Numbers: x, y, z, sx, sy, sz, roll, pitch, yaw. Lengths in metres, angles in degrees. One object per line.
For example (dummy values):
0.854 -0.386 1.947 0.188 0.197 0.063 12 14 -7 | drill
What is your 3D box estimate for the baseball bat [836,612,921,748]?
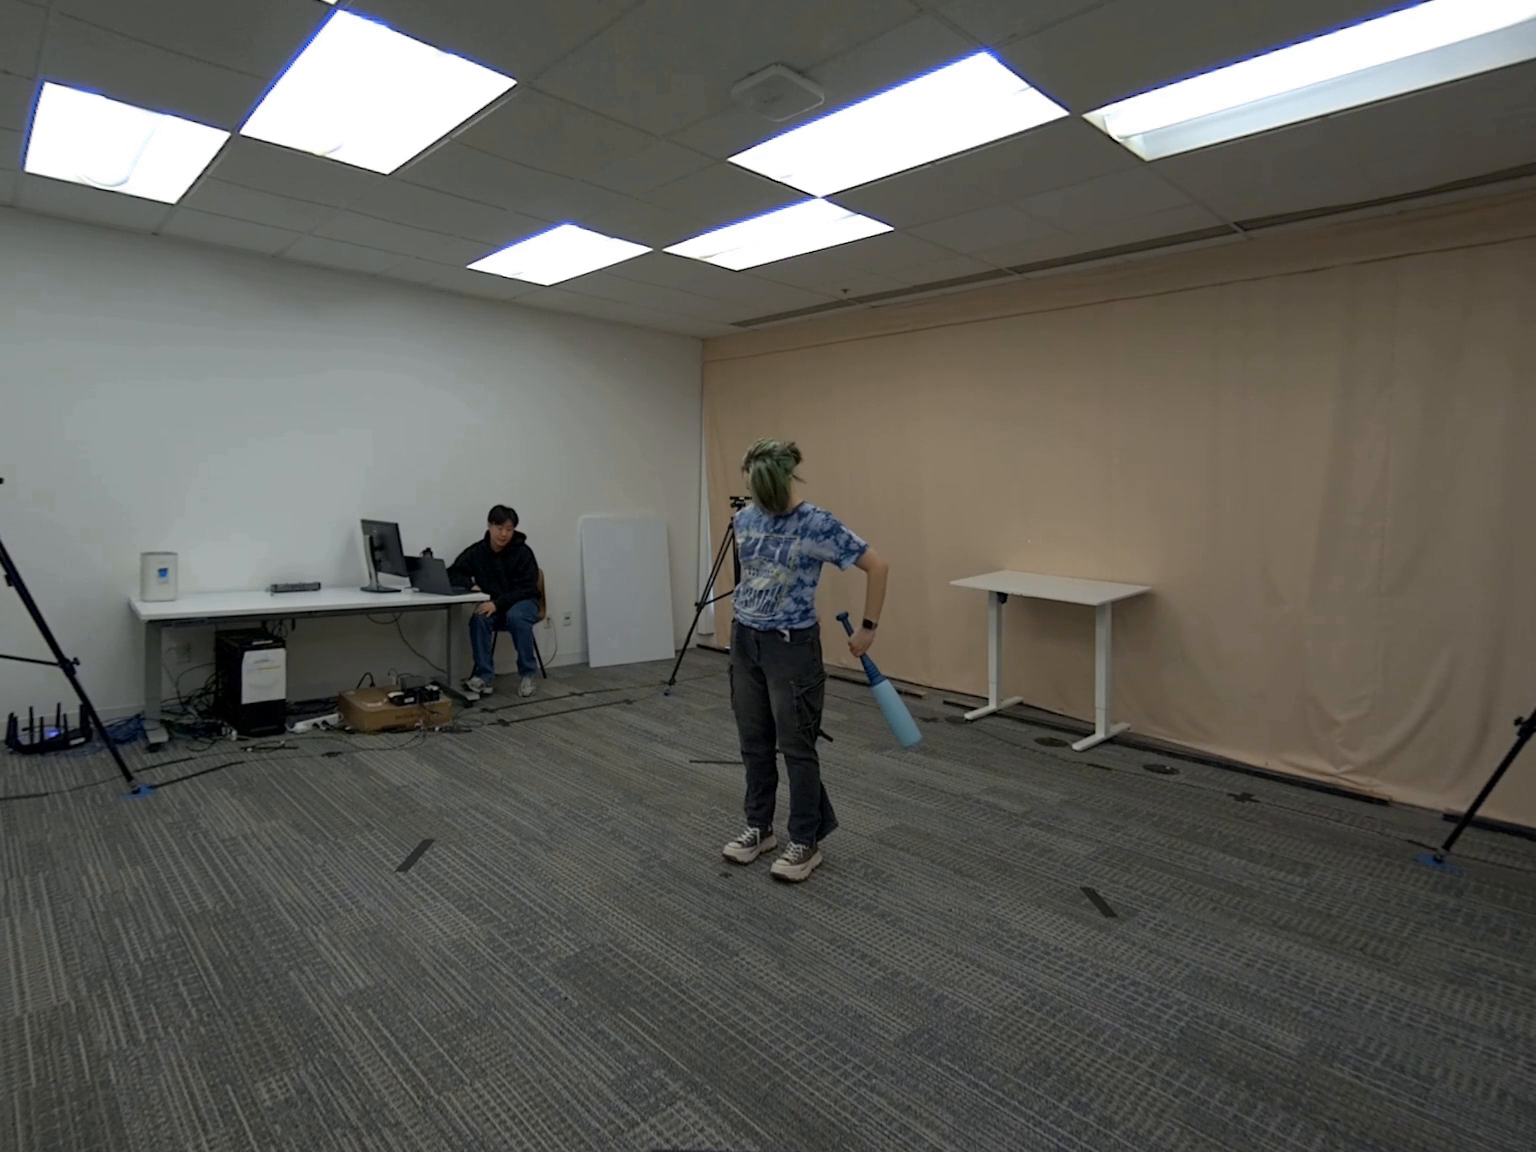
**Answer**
0.376 0.376 3.112 0.089 0.549 0.088 -26 -11 -6 | baseball bat
